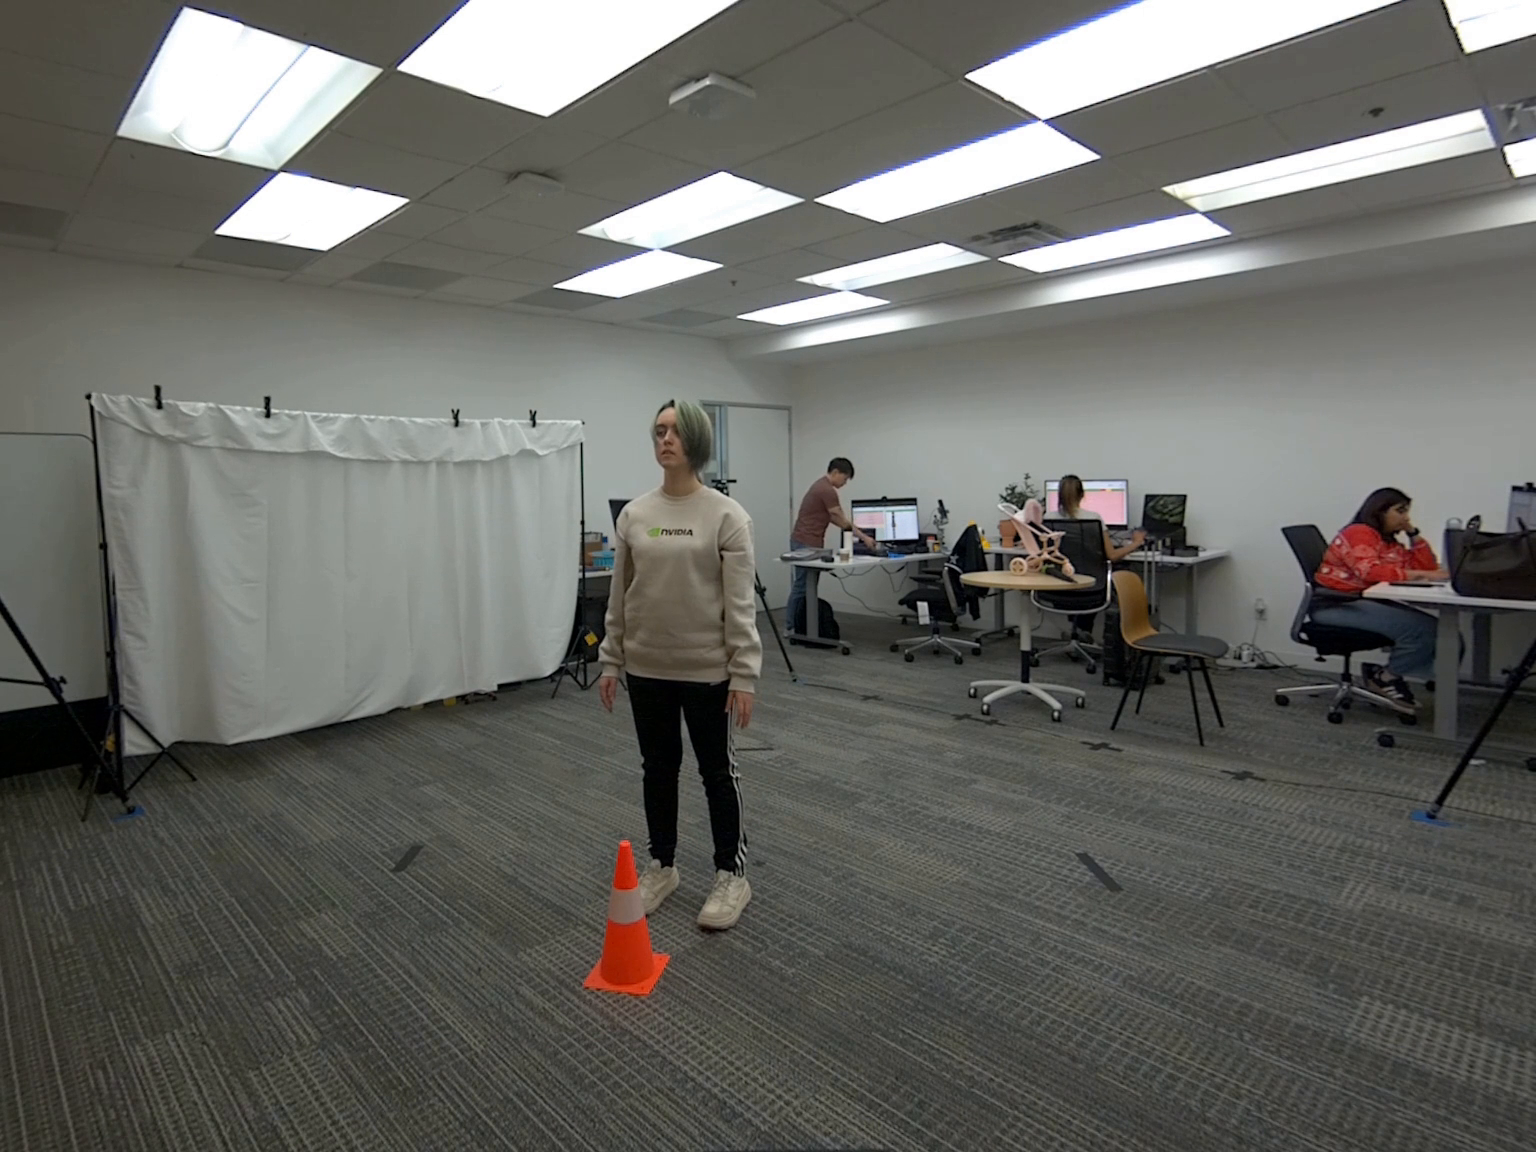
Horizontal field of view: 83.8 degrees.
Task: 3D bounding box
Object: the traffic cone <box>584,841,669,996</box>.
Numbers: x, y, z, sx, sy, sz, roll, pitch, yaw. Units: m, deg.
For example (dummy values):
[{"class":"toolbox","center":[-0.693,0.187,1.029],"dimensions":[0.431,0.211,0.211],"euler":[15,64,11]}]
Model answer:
[{"class":"traffic cone","center":[-0.396,0.949,2.435],"dimensions":[0.205,0.382,0.204],"euler":[1,4,9]}]
